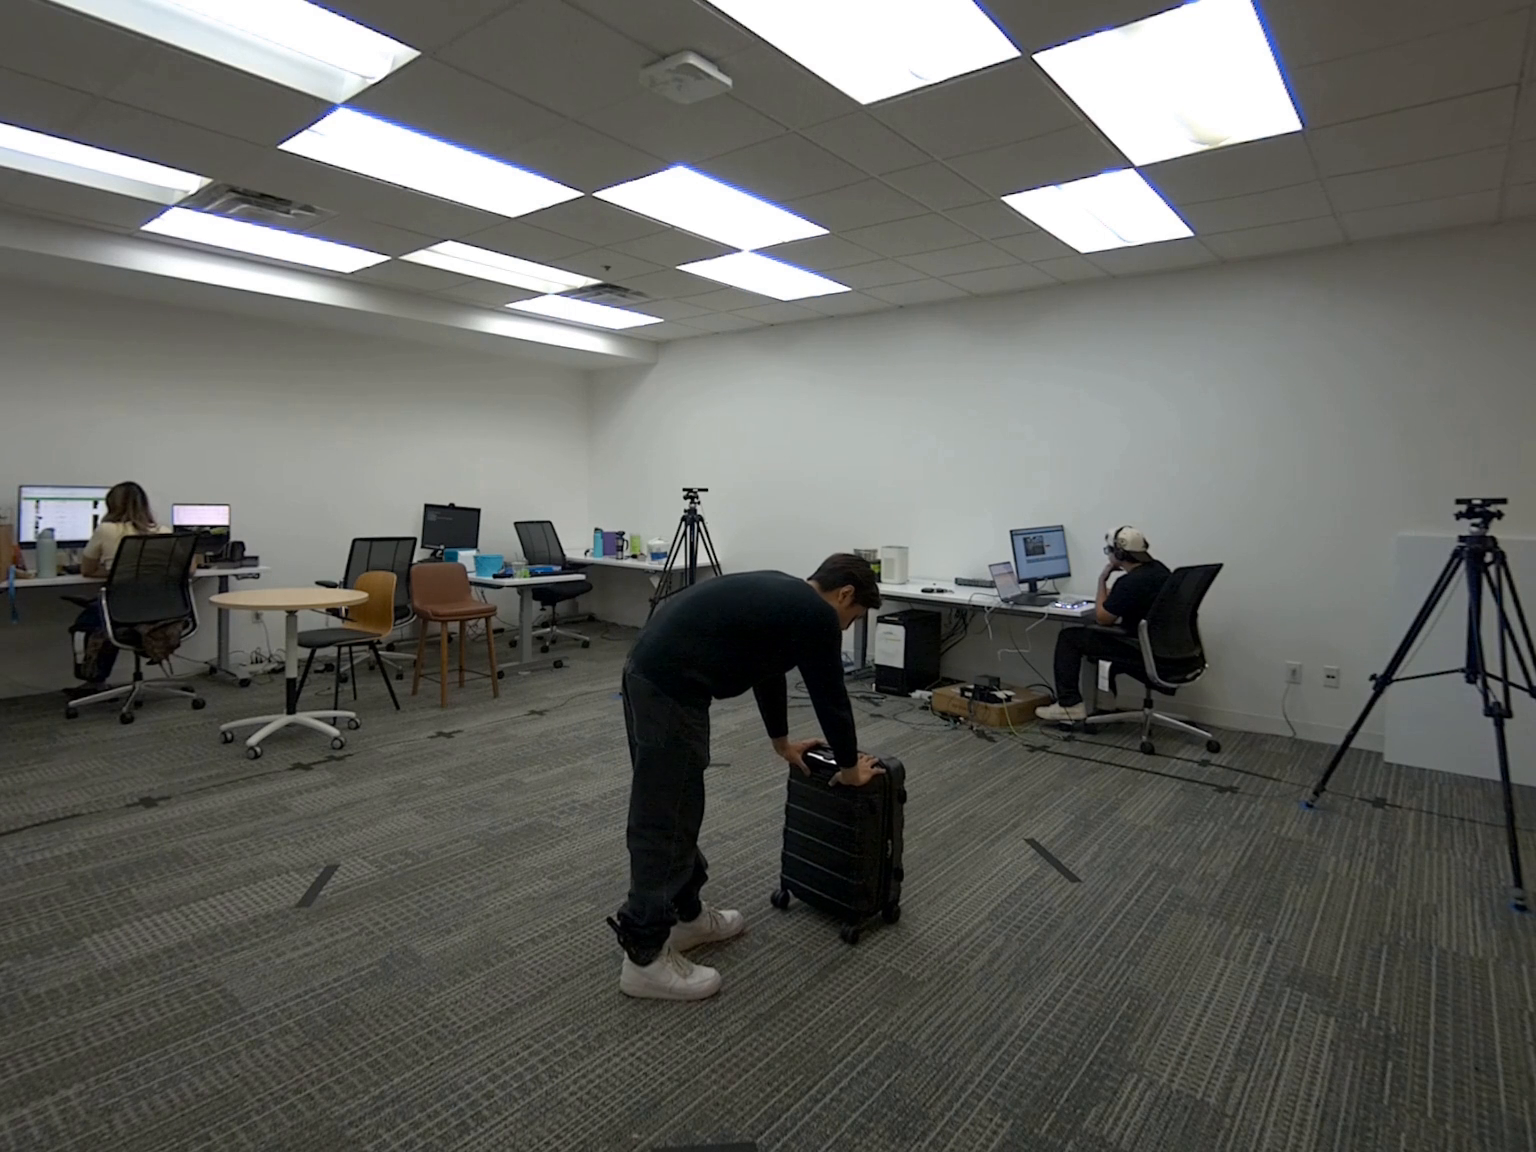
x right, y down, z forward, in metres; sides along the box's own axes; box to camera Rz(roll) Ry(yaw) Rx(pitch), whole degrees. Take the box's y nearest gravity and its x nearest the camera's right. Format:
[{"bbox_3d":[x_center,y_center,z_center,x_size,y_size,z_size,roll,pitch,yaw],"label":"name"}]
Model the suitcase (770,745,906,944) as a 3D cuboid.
[{"bbox_3d":[0.239,0.835,2.817,0.240,0.549,0.388,1,2,-43],"label":"suitcase"}]
